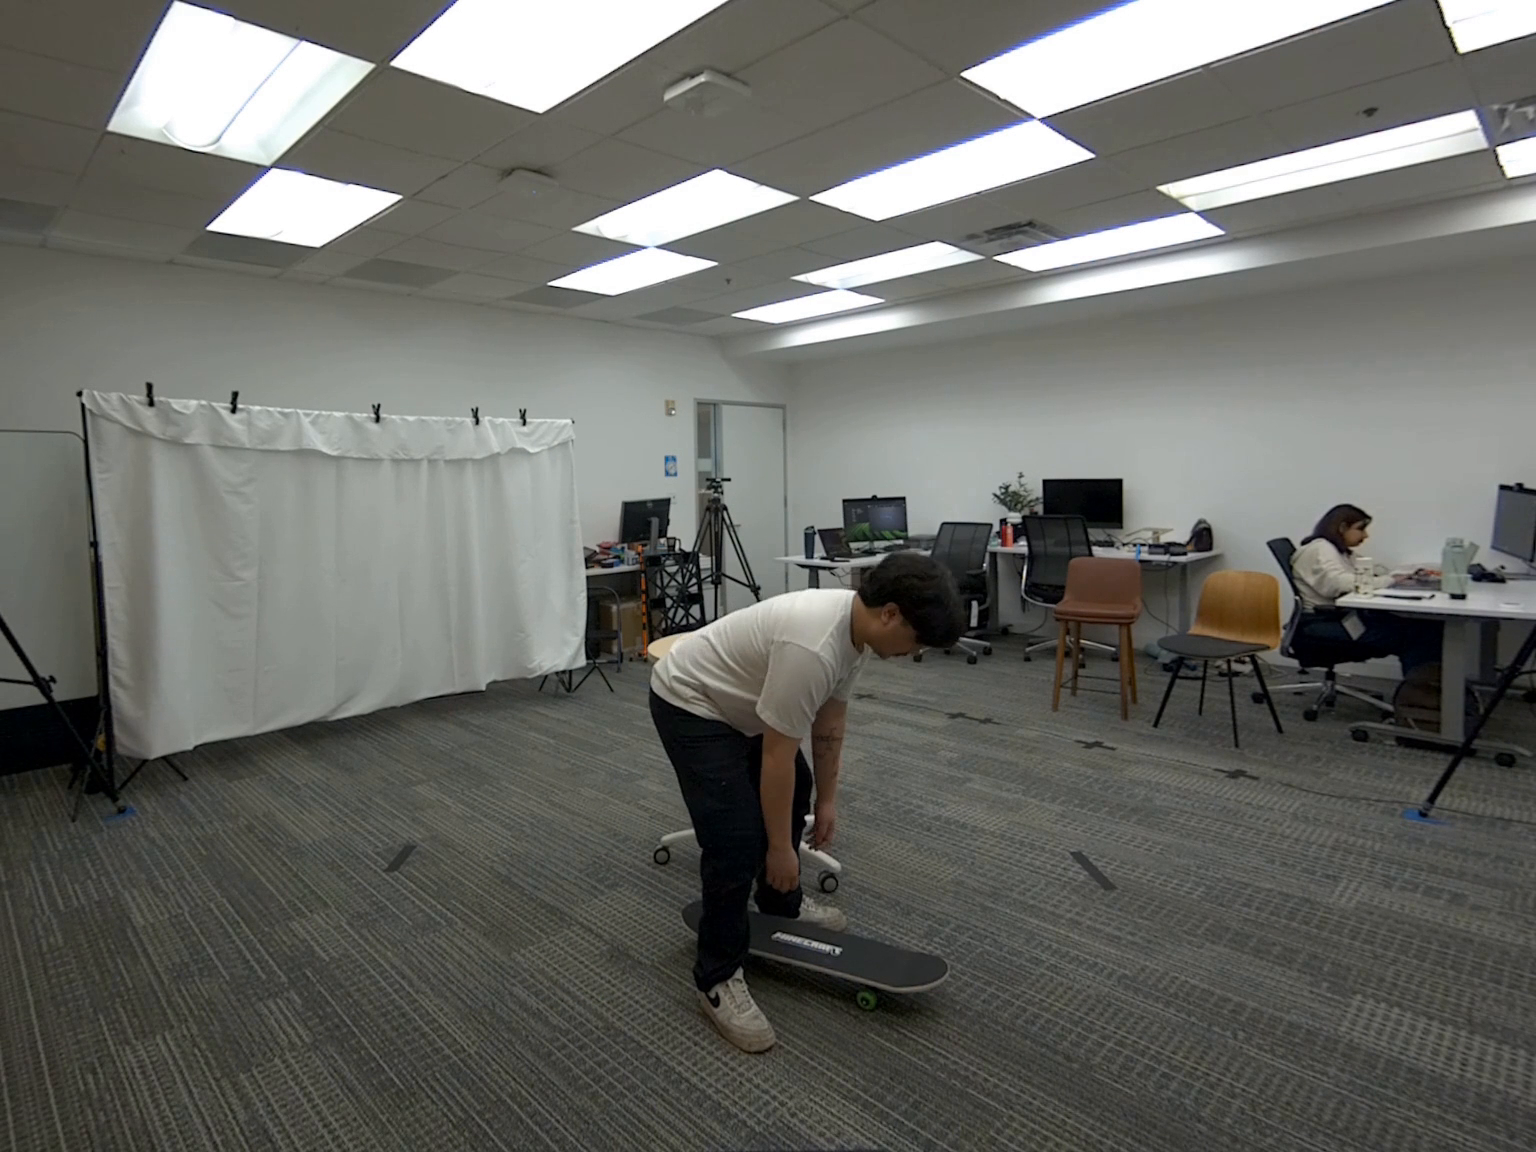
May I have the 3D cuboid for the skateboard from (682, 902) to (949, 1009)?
[{"bbox_3d":[0.118,1.070,2.397,0.804,0.110,0.190,2,6,26],"label":"skateboard"}]
